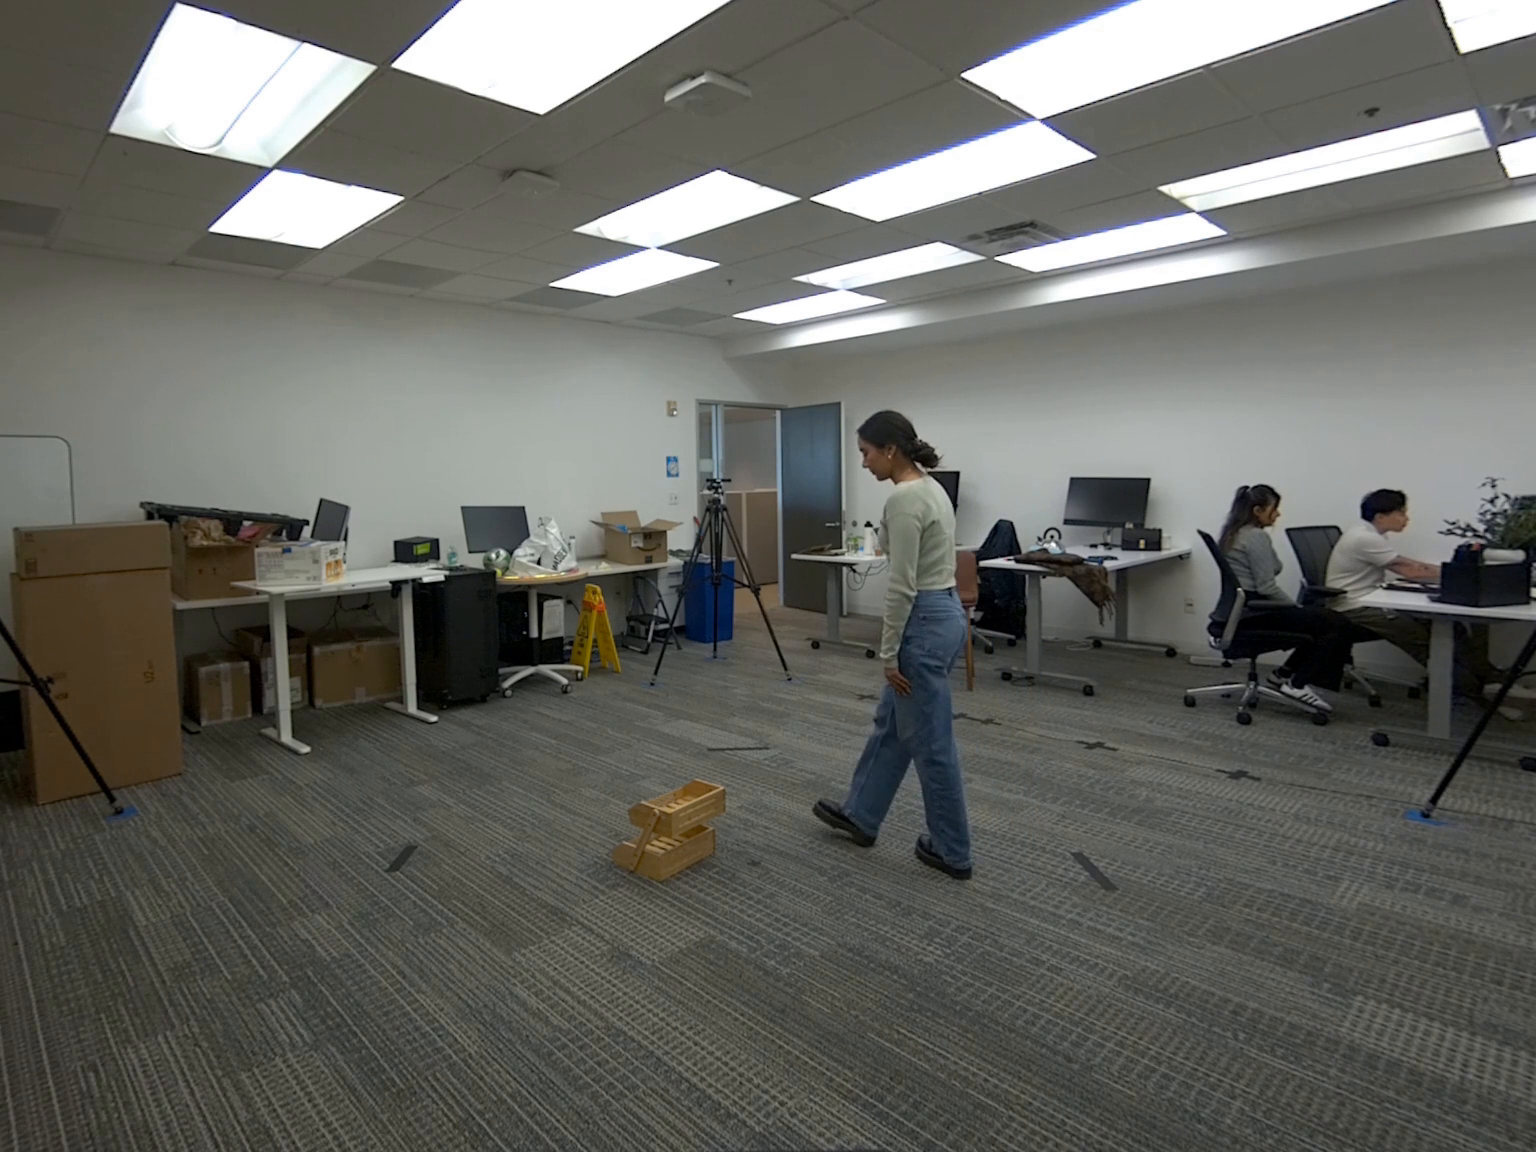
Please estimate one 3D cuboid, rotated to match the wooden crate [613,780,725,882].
[{"bbox_3d":[-0.364,0.912,3.136,0.311,0.272,0.316,4,7,37],"label":"wooden crate"}]
